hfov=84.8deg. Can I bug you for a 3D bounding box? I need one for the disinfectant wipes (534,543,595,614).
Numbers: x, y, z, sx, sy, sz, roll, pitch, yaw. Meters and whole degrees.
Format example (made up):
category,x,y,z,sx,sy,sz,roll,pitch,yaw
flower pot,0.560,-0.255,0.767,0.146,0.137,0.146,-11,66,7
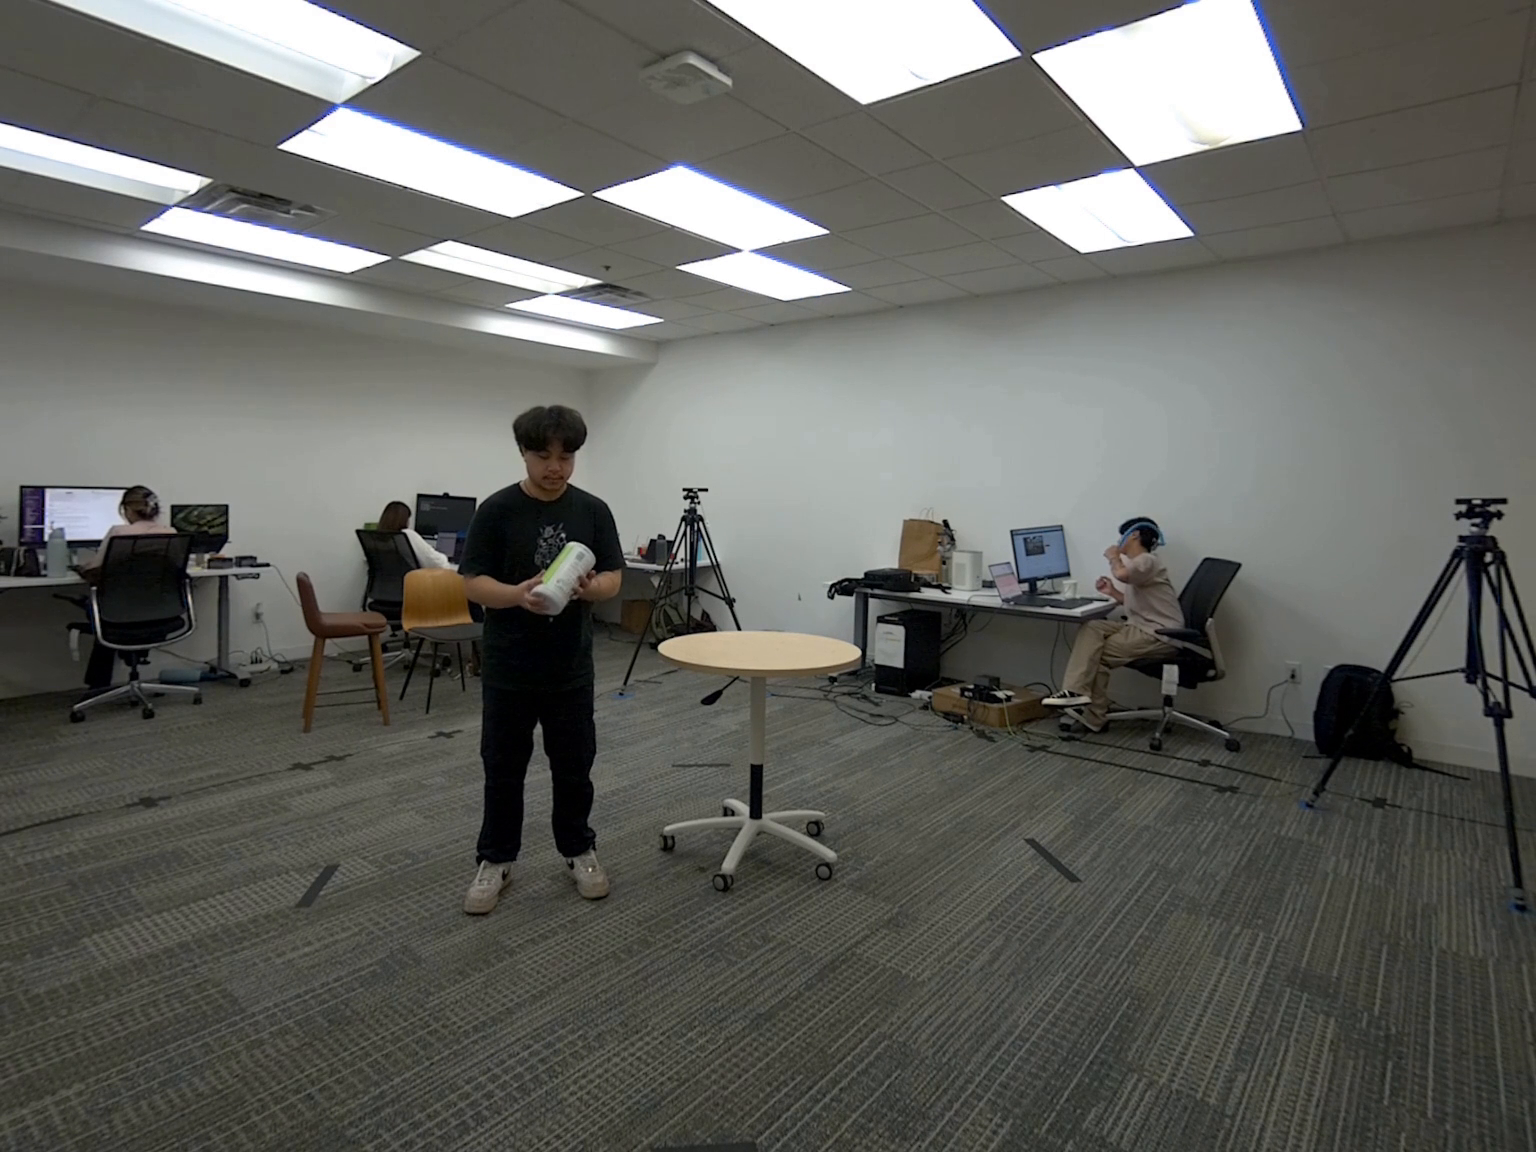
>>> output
category,x,y,z,sx,sy,sz,roll,pitch,yaw
disinfectant wipes,-0.634,0.002,2.582,0.121,0.113,0.219,3,46,32
